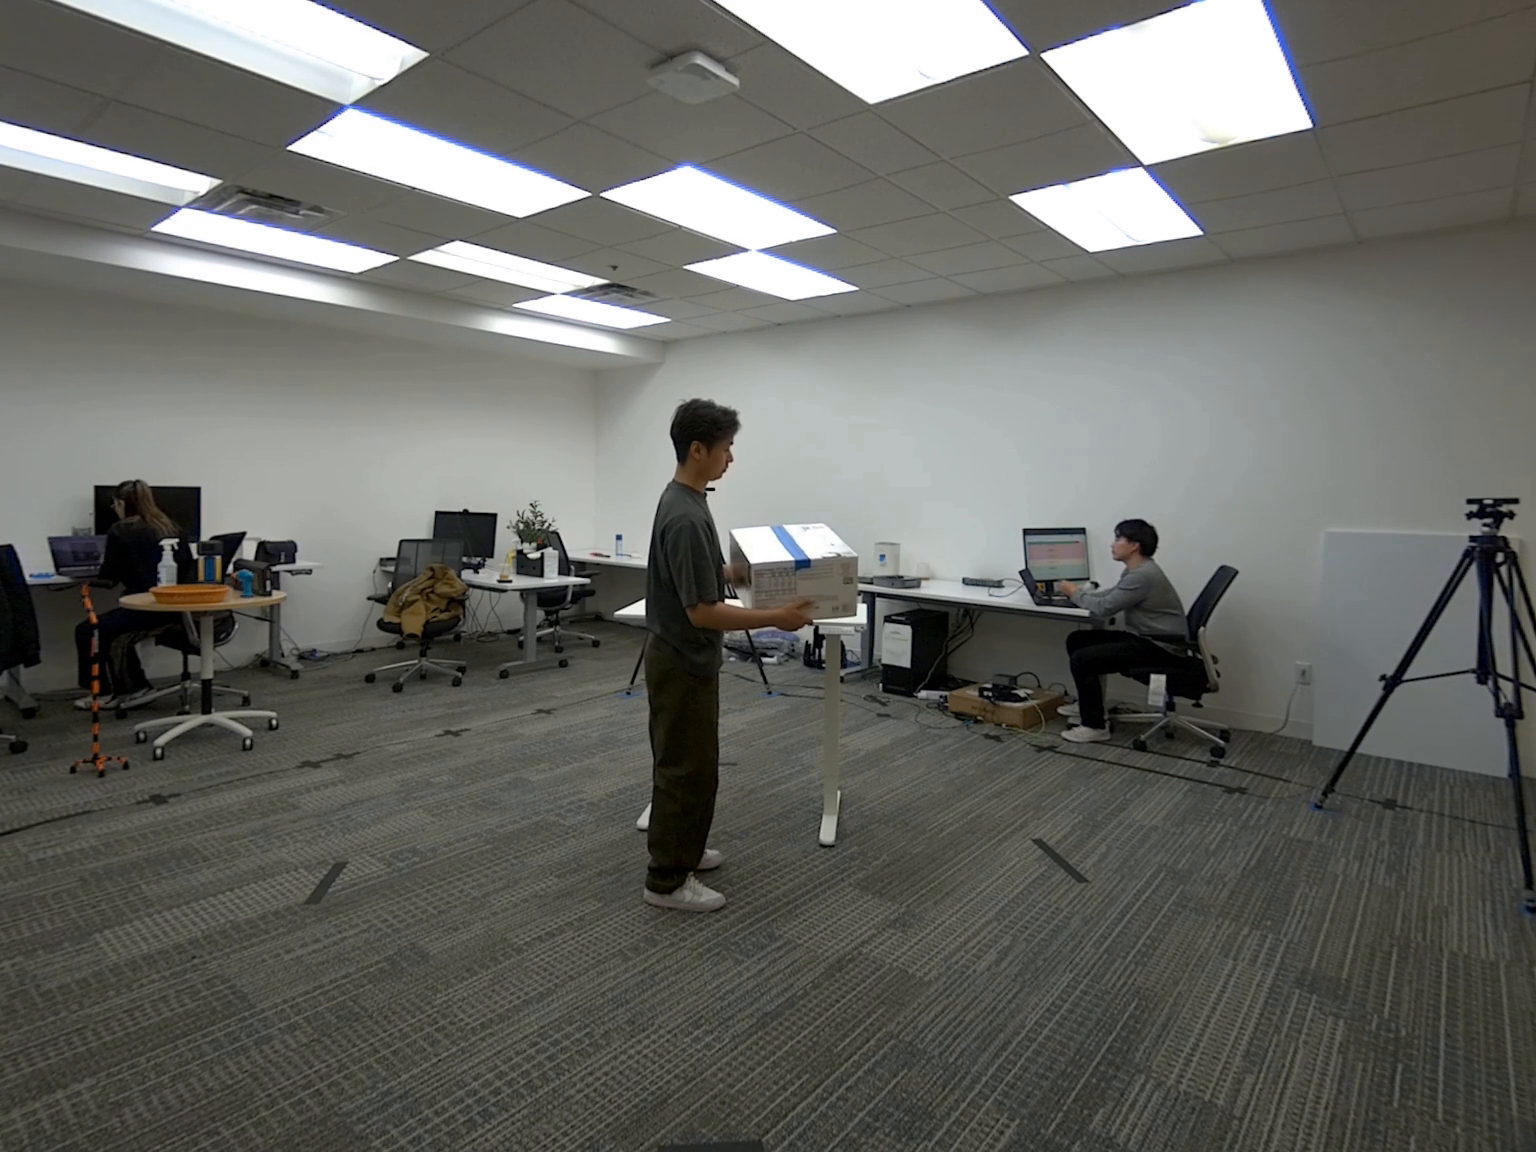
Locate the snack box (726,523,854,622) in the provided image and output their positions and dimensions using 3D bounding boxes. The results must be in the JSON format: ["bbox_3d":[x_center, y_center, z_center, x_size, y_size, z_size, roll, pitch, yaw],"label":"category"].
[{"bbox_3d":[0.061,-0.015,2.821,0.338,0.202,0.415,-5,18,-9],"label":"snack box"}]
